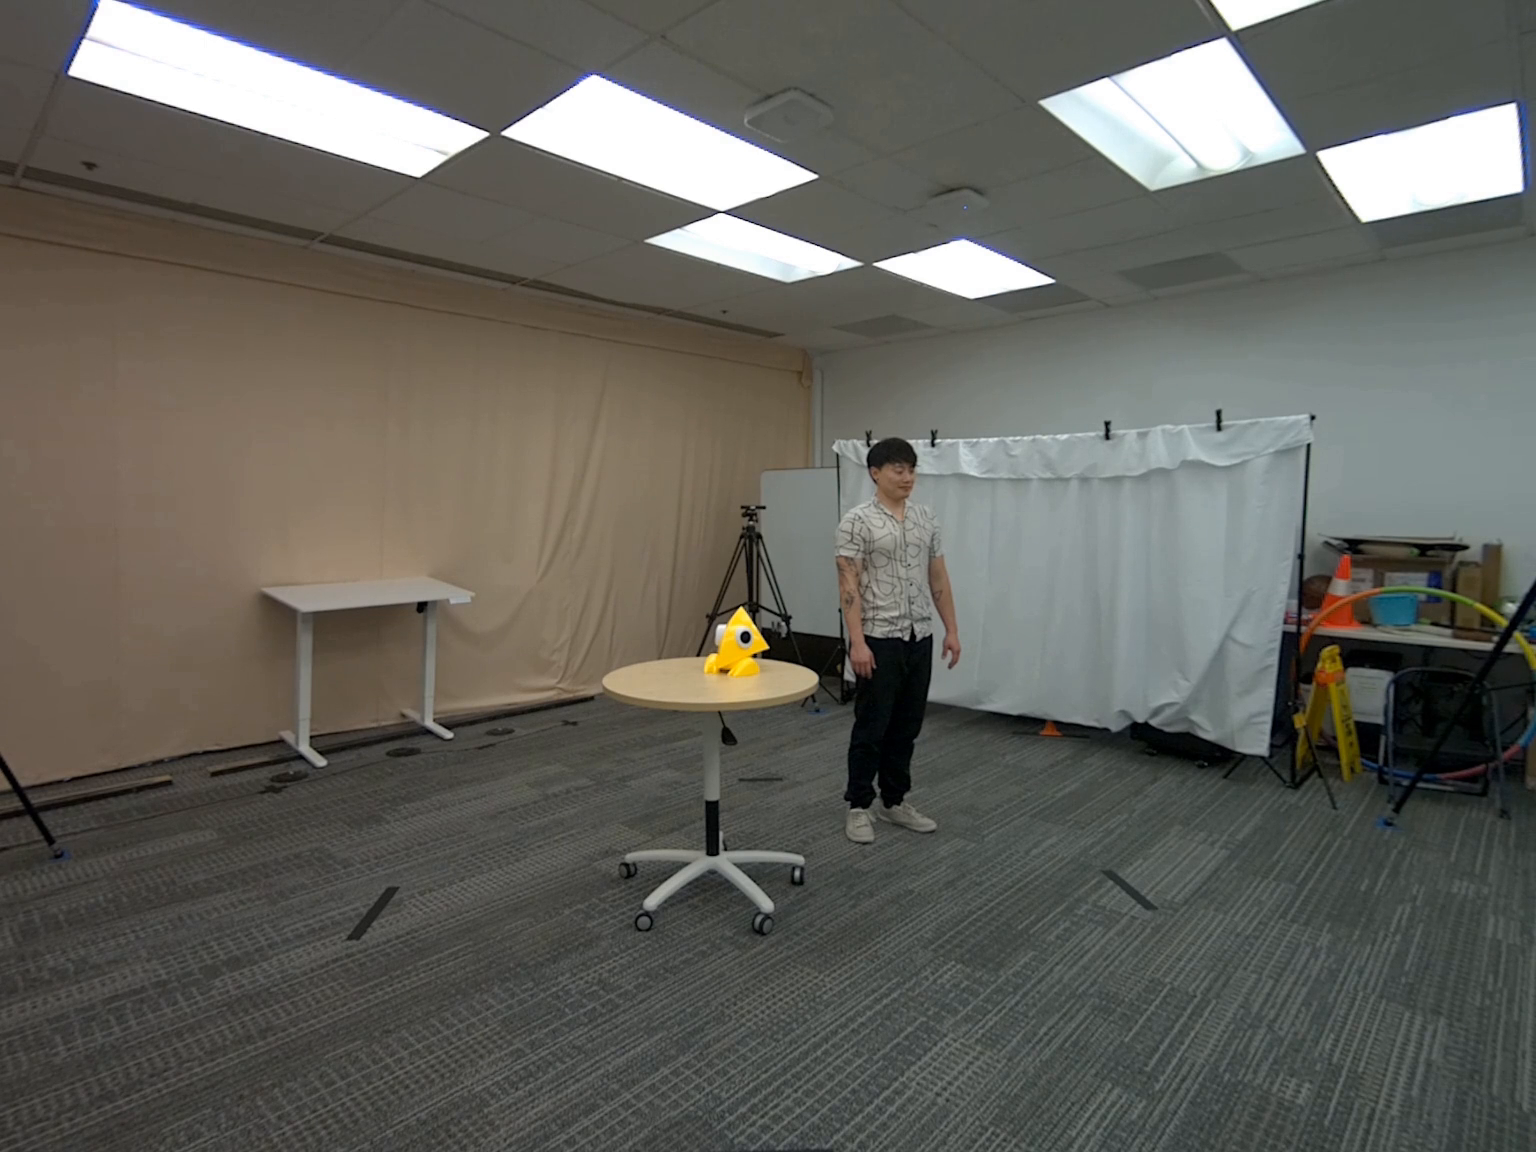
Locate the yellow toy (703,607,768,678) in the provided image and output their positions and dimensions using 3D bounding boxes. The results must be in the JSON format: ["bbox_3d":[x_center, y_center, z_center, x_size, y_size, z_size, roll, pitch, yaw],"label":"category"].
[{"bbox_3d":[-0.127,0.236,3.096,0.211,0.230,0.188,2,5,33],"label":"yellow toy"}]
